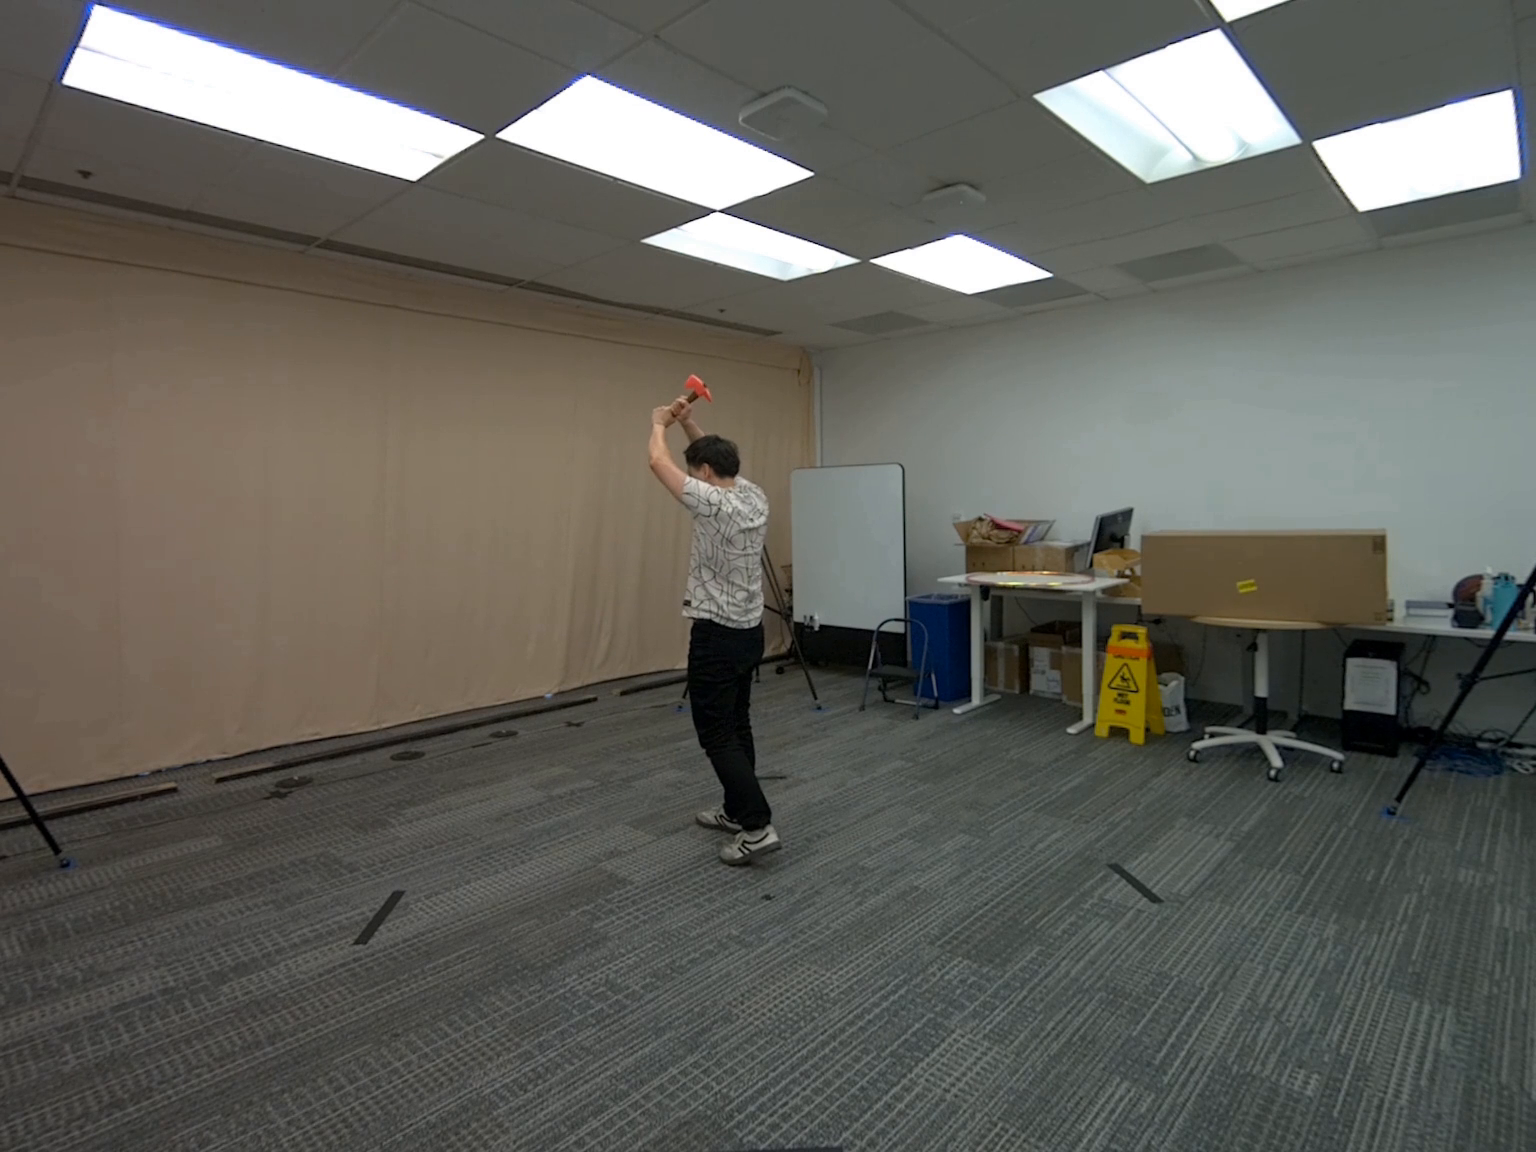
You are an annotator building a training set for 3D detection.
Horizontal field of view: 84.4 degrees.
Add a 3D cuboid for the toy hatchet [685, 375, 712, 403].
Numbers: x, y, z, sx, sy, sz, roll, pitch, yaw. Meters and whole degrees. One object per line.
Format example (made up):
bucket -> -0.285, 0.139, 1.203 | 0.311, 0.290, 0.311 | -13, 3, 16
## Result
toy hatchet -> -0.370, -0.747, 3.491 | 0.275, 0.130, 0.029 | -13, 11, 23
